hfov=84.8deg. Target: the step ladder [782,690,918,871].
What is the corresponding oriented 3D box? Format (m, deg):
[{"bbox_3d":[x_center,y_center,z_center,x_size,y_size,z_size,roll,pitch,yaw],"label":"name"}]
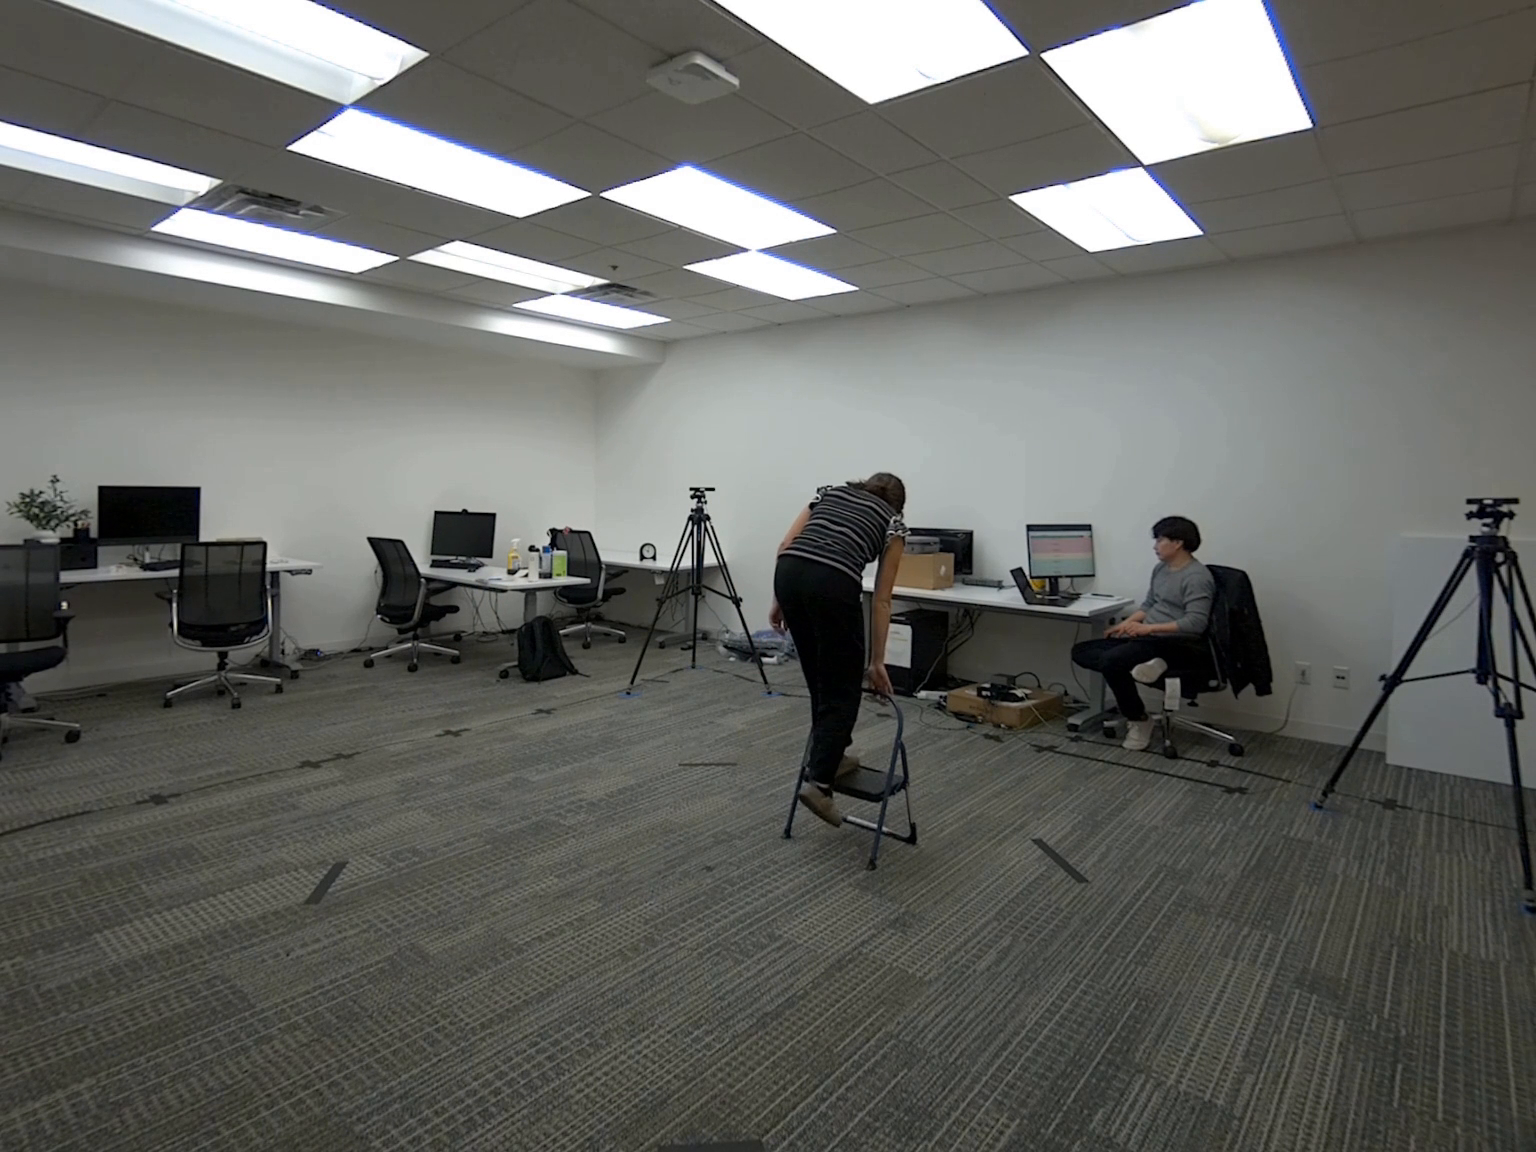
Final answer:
[{"bbox_3d":[0.329,0.752,3.374,0.445,0.604,0.339,6,6,40],"label":"step ladder"}]
